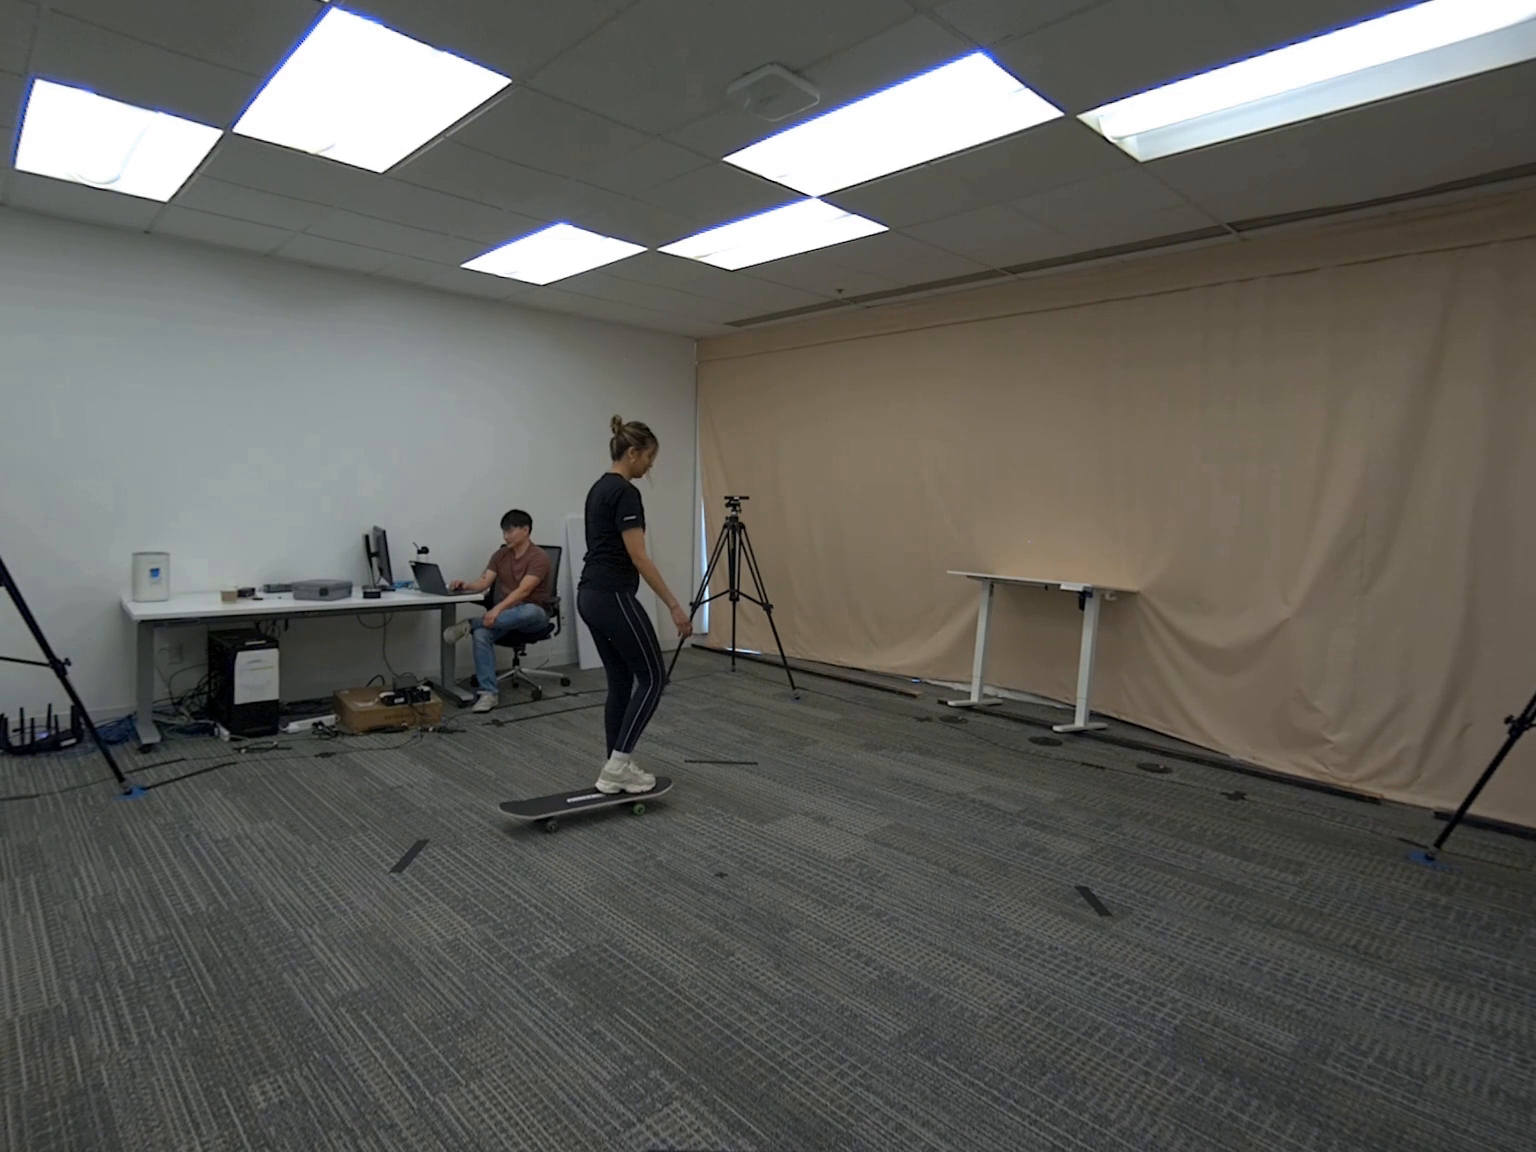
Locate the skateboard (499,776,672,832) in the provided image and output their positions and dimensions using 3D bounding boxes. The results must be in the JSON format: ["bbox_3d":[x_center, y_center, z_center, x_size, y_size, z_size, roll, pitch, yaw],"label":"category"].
[{"bbox_3d":[-0.778,0.987,3.632,0.769,0.110,0.198,-1,6,-33],"label":"skateboard"}]
